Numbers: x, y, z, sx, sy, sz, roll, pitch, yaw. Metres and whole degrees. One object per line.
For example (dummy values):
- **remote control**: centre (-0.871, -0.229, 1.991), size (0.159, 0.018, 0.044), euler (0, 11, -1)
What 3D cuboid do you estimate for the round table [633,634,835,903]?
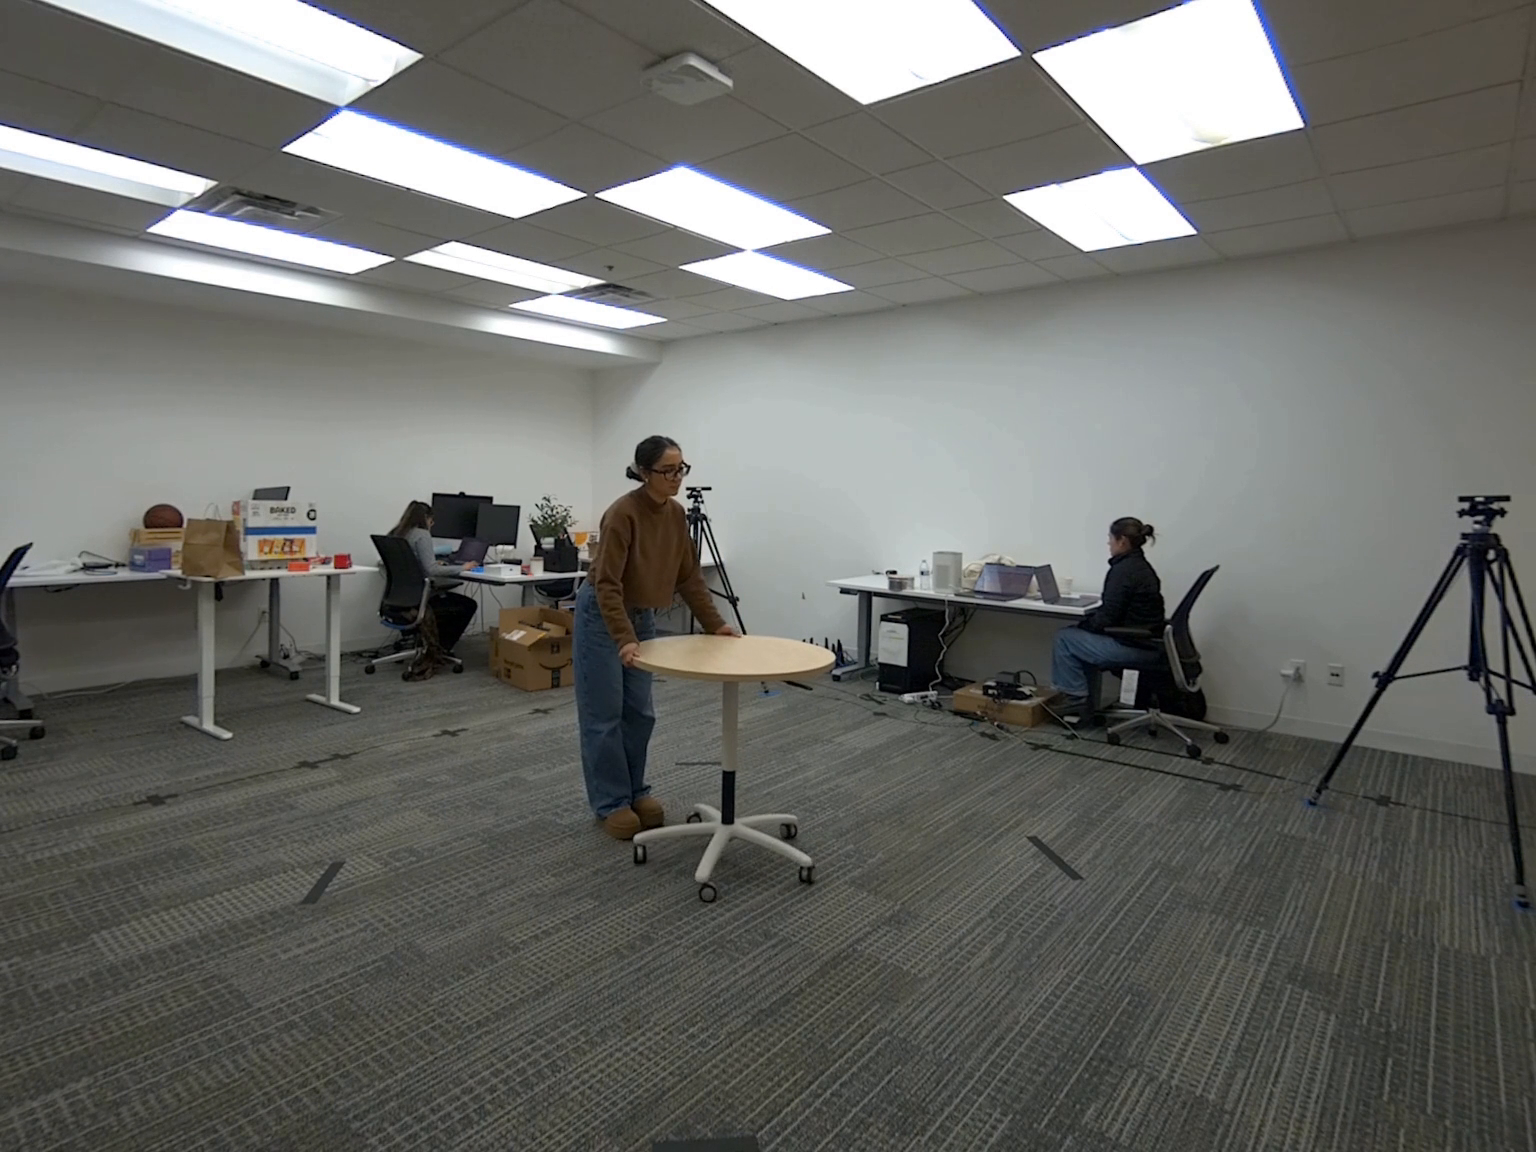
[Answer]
- **round table**: centre (-0.157, 0.671, 3.164), size (0.763, 0.792, 0.767), euler (1, 4, -2)
